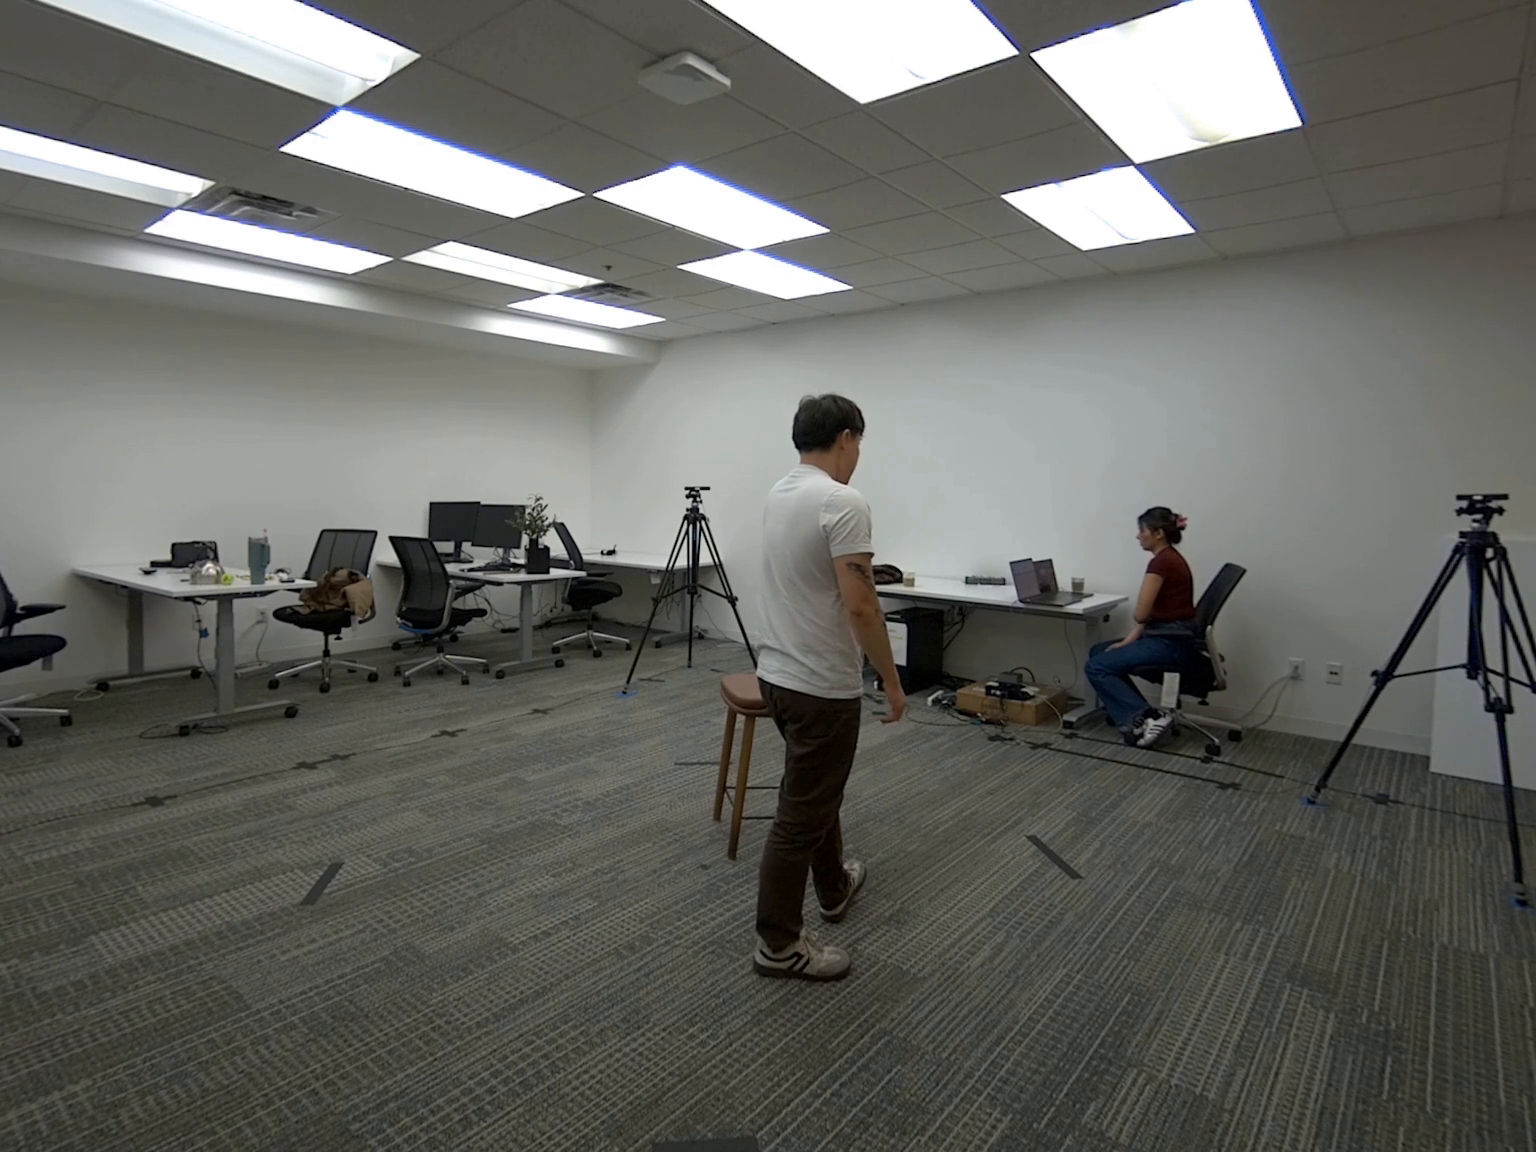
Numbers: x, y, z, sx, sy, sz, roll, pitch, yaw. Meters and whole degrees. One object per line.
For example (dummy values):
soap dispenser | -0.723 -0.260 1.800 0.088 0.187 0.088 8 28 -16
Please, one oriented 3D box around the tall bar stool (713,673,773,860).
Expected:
tall bar stool | 0.034 0.606 3.392 0.462 0.887 0.463 2 3 -11
